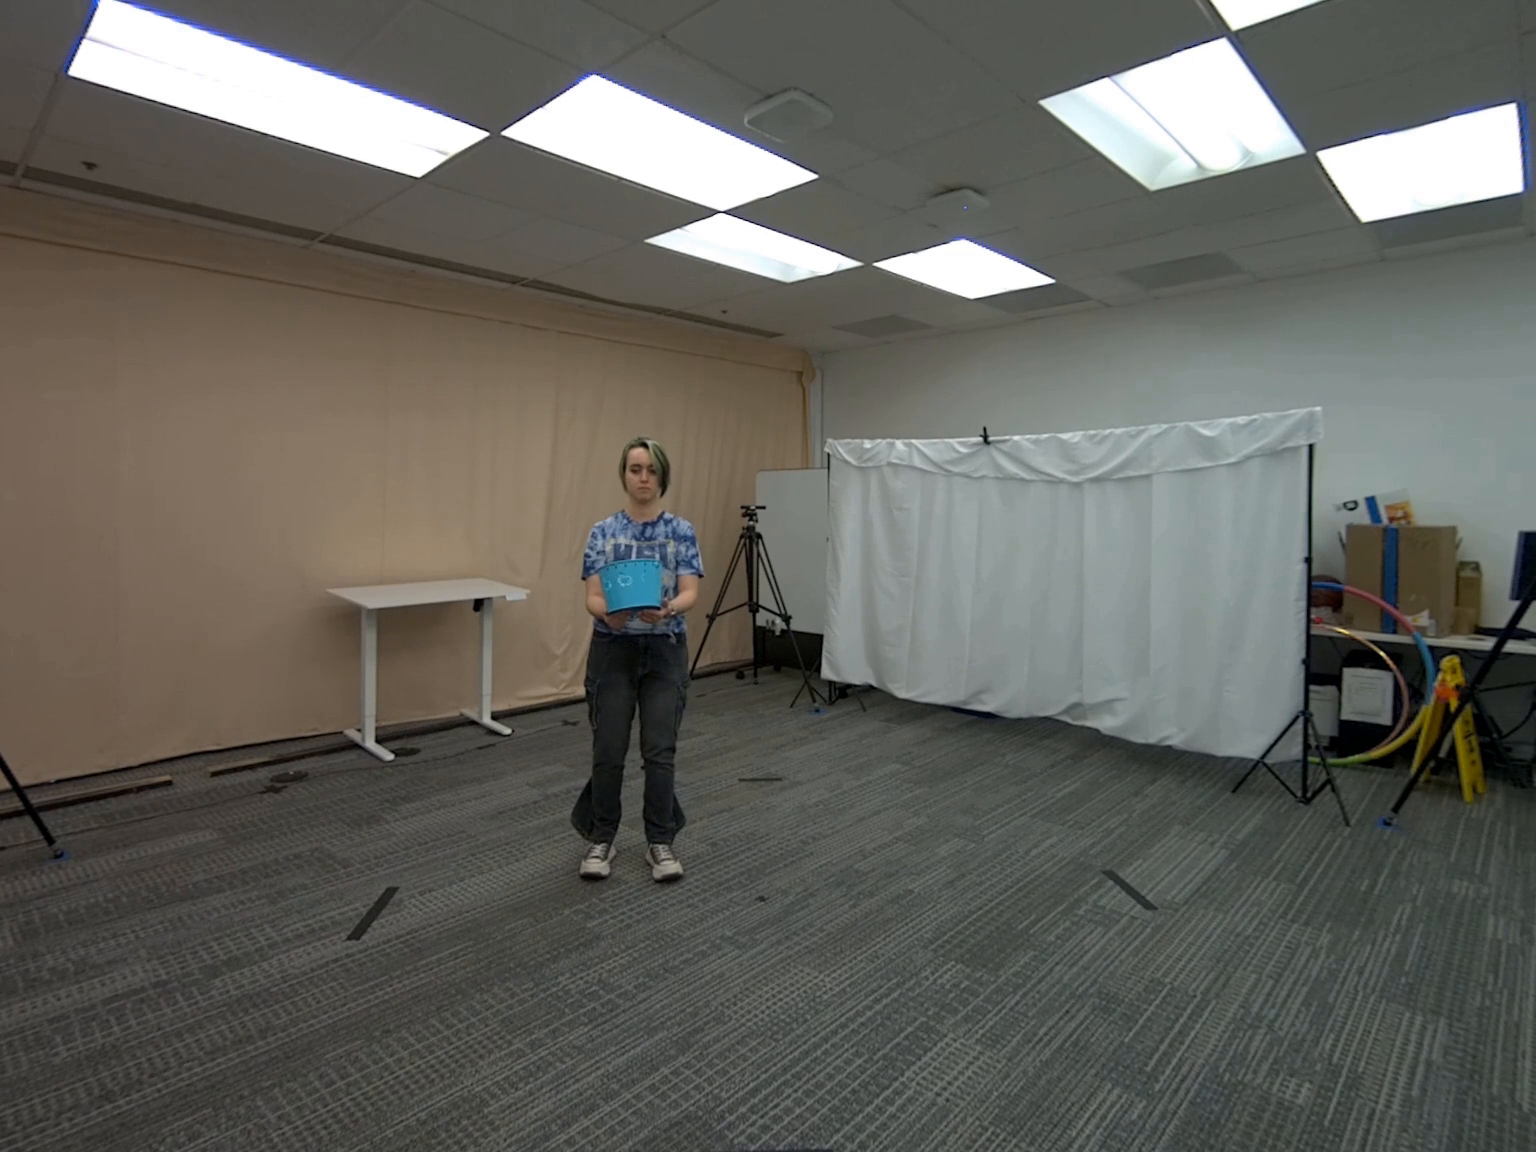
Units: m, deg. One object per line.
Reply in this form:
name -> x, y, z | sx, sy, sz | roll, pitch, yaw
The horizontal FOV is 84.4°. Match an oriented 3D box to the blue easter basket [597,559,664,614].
blue easter basket -> -0.452, 0.049, 2.881 | 0.243, 0.157, 0.242 | -6, -12, -3
